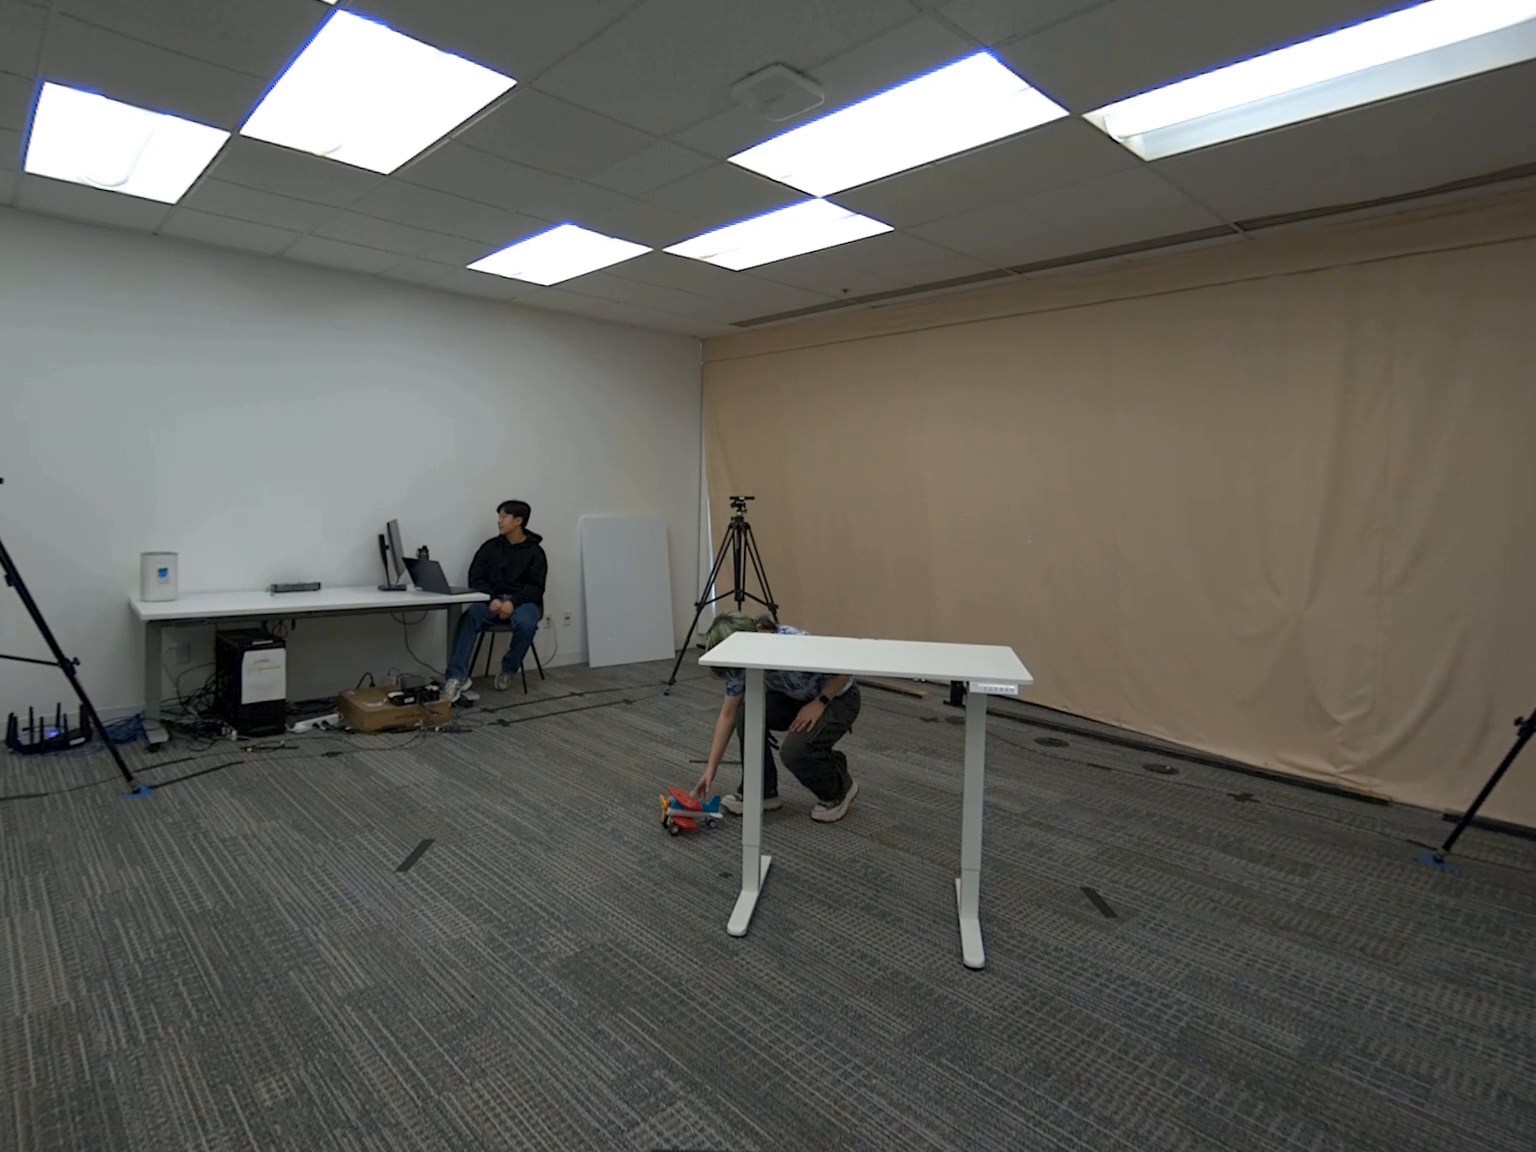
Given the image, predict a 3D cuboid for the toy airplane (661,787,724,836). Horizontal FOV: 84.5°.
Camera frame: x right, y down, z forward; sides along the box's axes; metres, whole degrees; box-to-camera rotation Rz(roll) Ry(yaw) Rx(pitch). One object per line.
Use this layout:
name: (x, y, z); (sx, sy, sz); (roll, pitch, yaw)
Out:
toy airplane: (-0.344, 0.985, 3.537); (0.257, 0.156, 0.254); (4, 5, 36)
